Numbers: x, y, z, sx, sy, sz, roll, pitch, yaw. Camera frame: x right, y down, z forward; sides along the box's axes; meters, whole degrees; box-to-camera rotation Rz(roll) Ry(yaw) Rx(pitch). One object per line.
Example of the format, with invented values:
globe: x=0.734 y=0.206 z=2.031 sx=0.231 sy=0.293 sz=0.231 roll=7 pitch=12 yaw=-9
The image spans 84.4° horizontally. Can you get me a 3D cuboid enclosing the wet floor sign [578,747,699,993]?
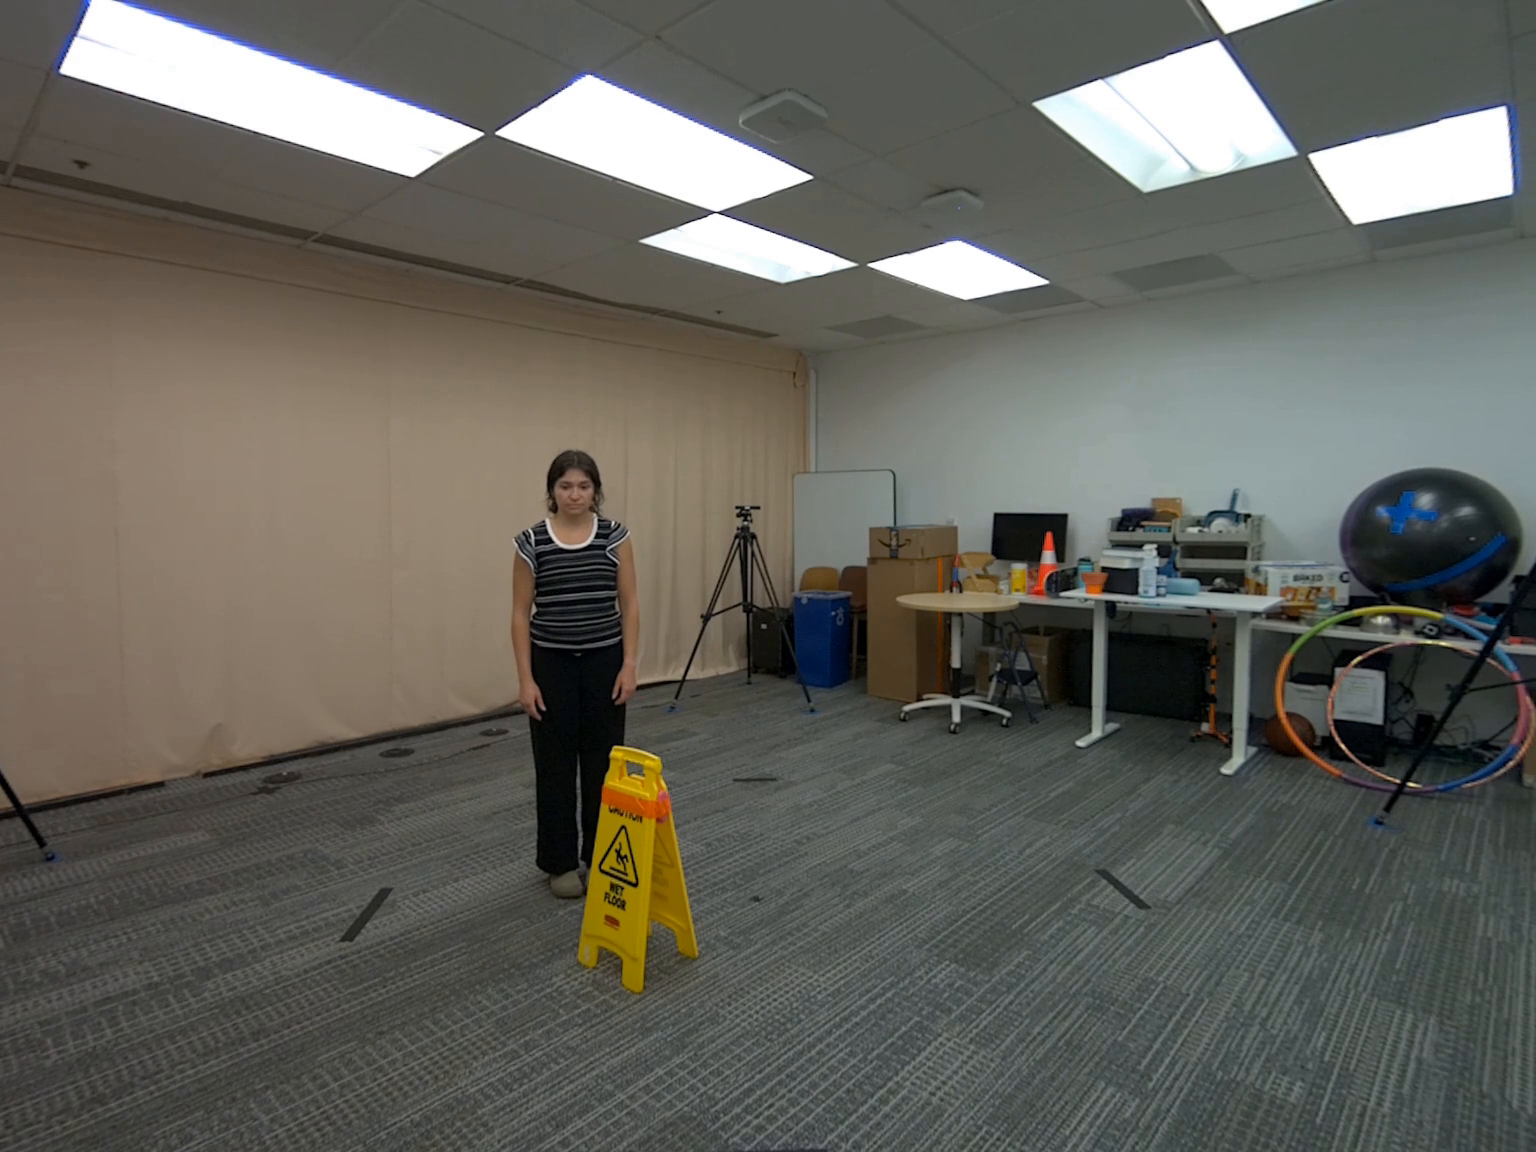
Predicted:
wet floor sign: x=-0.401 y=0.857 z=2.565 sx=0.291 sy=0.645 sz=0.281 roll=1 pitch=4 yaw=38
